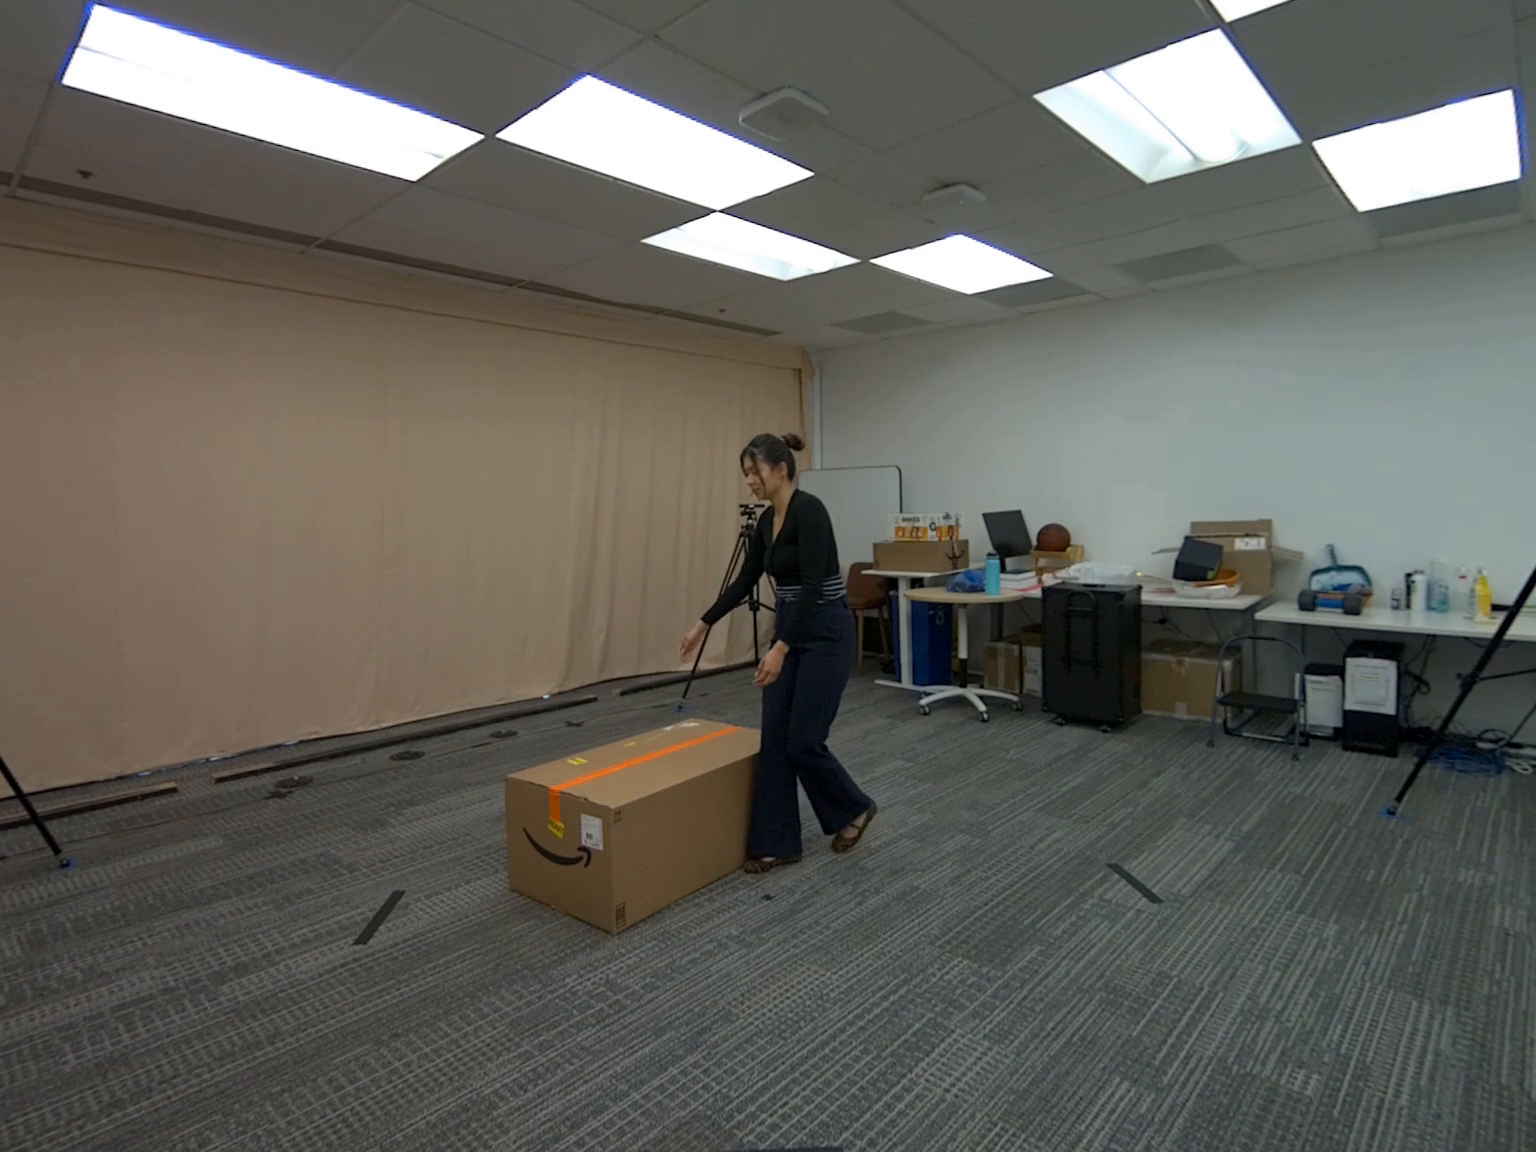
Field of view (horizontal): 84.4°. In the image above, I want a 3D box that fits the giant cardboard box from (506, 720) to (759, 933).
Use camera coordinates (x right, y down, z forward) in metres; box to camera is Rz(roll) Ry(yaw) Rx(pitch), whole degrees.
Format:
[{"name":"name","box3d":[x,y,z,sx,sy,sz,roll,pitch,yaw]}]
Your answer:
[{"name":"giant cardboard box","box3d":[-0.423,0.908,3.290,0.596,0.425,0.996,1,5,39]}]
